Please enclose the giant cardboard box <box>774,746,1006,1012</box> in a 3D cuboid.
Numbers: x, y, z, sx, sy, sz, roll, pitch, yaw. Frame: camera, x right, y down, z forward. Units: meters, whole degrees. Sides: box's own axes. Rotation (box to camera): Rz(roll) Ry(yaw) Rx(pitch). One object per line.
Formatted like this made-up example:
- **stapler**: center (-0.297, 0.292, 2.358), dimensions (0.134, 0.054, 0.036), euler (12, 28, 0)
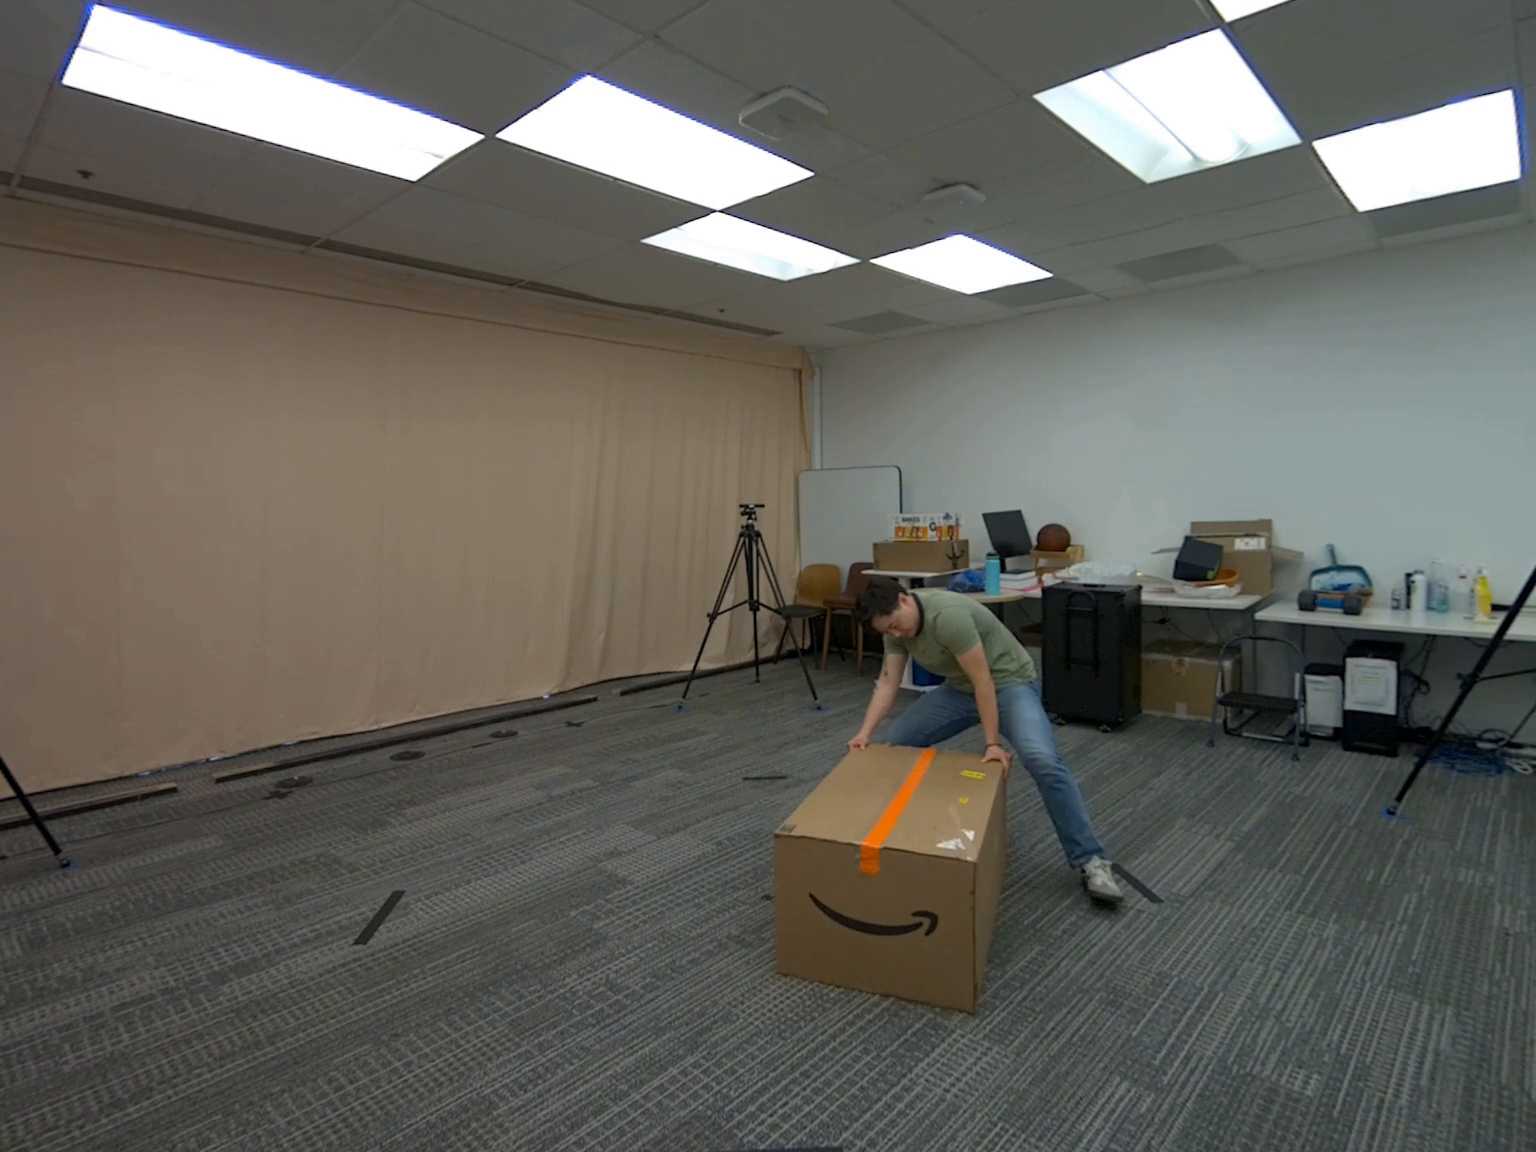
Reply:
- **giant cardboard box**: center (0.450, 0.932, 2.830), dimensions (0.591, 0.425, 1.004), euler (1, 5, 22)
